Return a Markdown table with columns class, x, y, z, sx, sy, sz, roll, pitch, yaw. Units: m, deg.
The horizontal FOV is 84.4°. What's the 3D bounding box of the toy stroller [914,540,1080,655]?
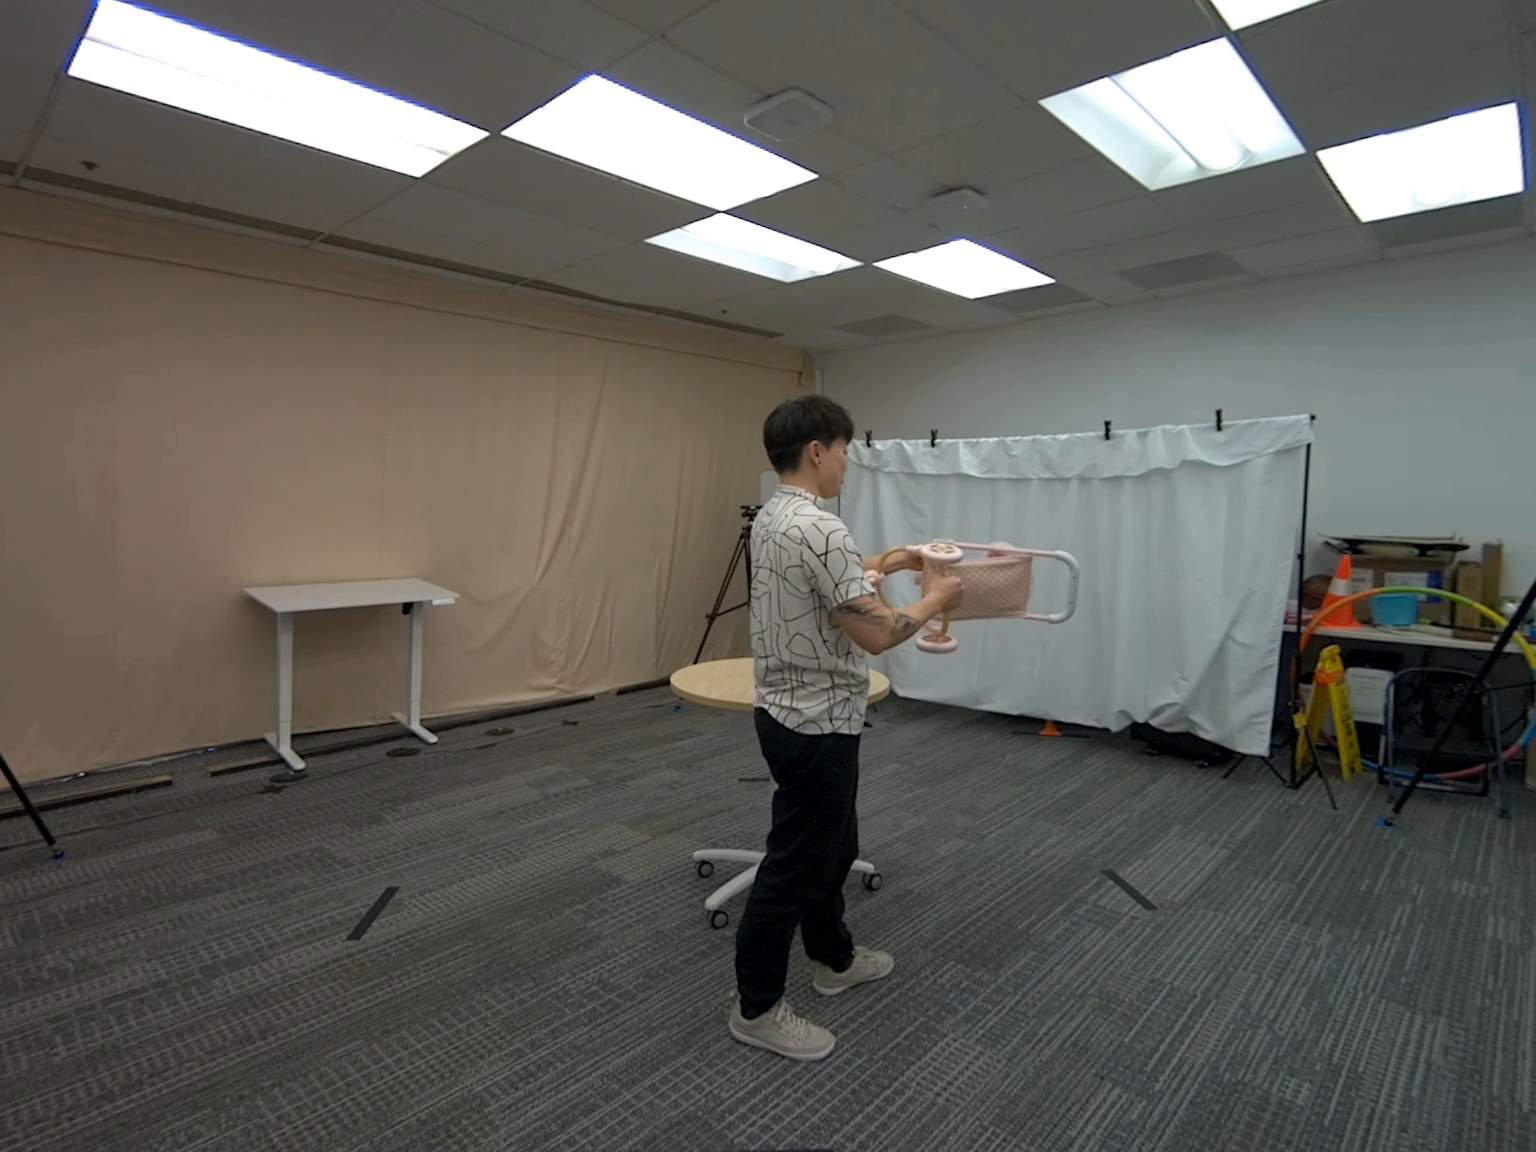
| class | x | y | z | sx | sy | sz | roll | pitch | yaw |
| --- | --- | --- | --- | --- | --- | --- | --- | --- | --- |
| toy stroller | 0.547 | 0.022 | 2.370 | 0.525 | 0.279 | 0.350 | -7 | 13 | -19 |
